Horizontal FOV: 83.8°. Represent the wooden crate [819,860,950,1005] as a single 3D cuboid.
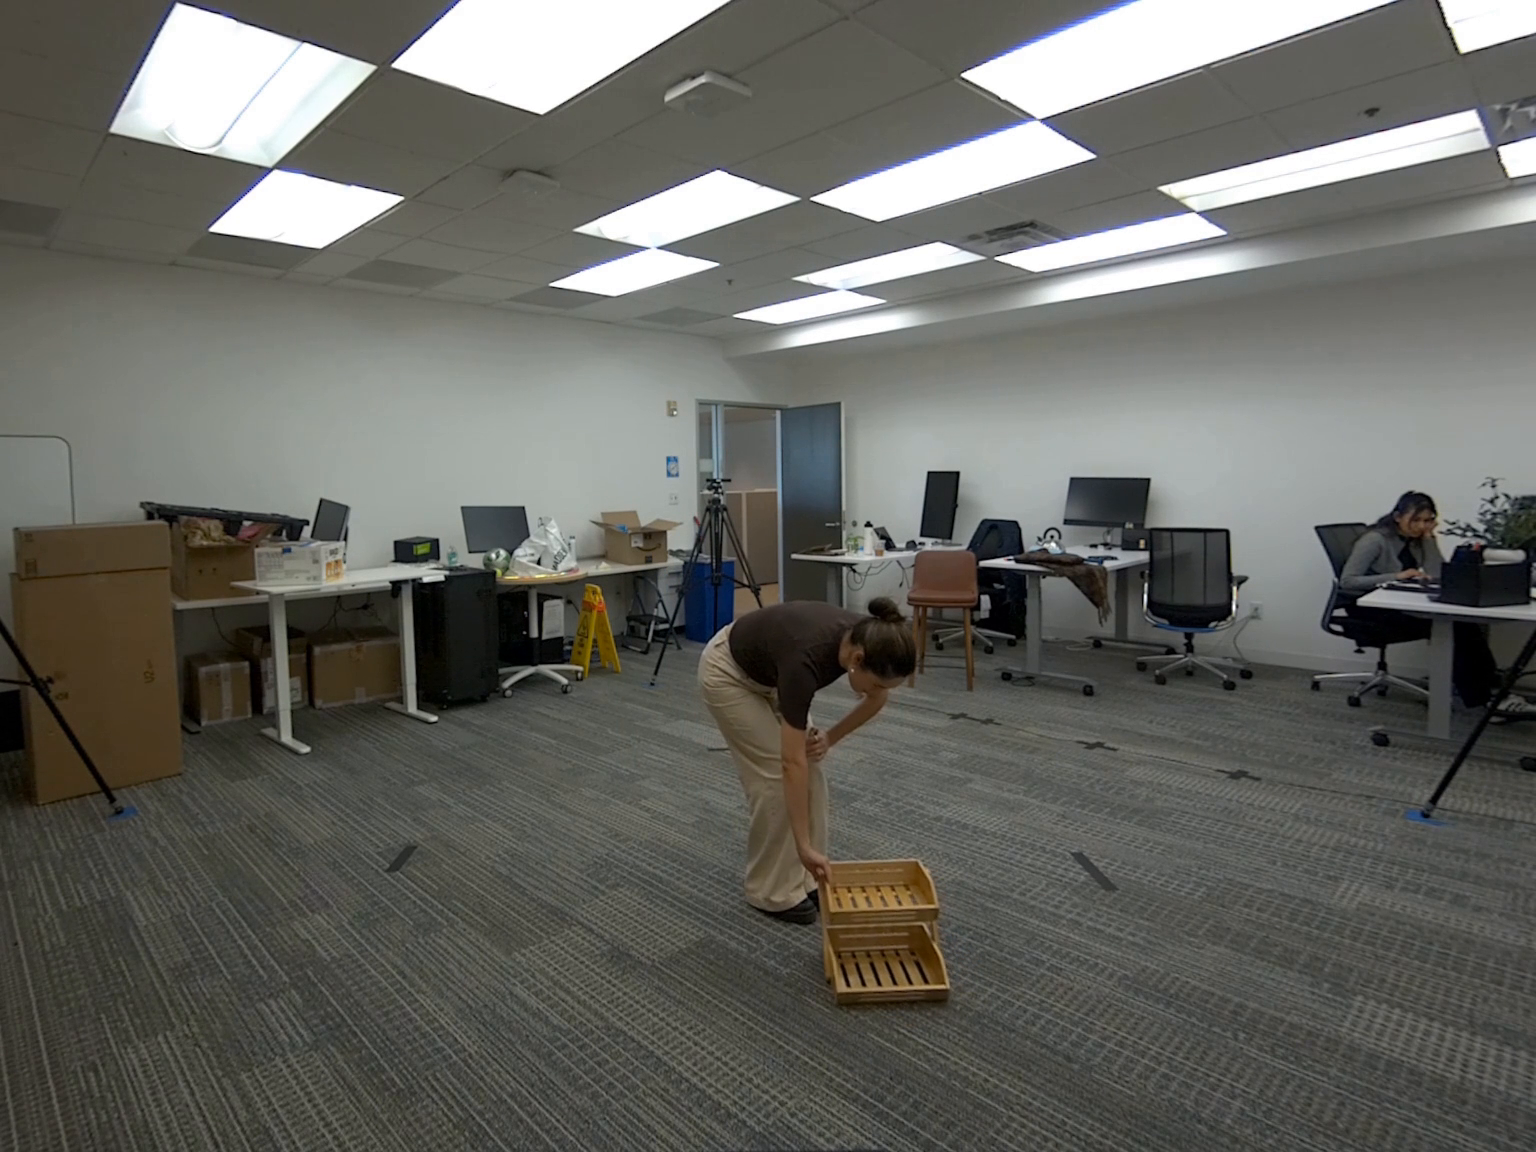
[{"bbox_3d":[0.326,0.990,2.380,0.323,0.272,0.304,-2,5,-4],"label":"wooden crate"}]
